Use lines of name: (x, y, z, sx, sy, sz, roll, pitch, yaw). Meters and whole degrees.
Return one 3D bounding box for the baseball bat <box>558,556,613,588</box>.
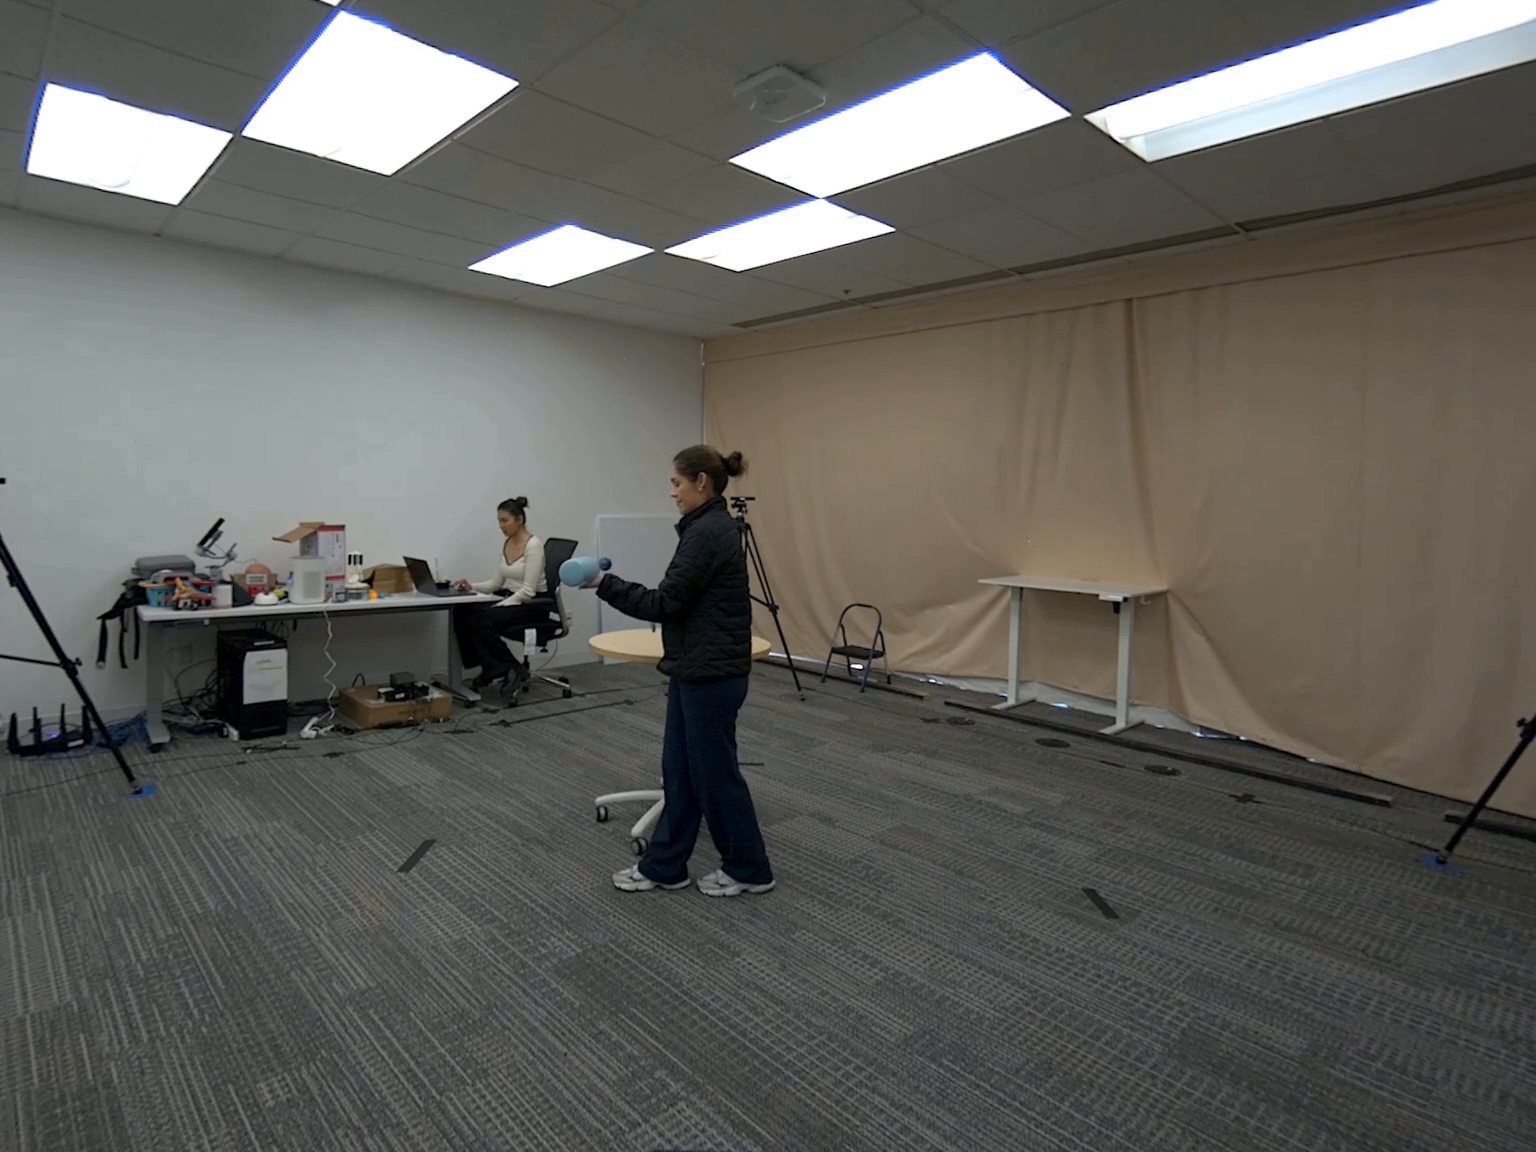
baseball bat: (-0.595, -0.021, 2.848, 0.089, 0.089, 0.542, 1, 2, 0)
